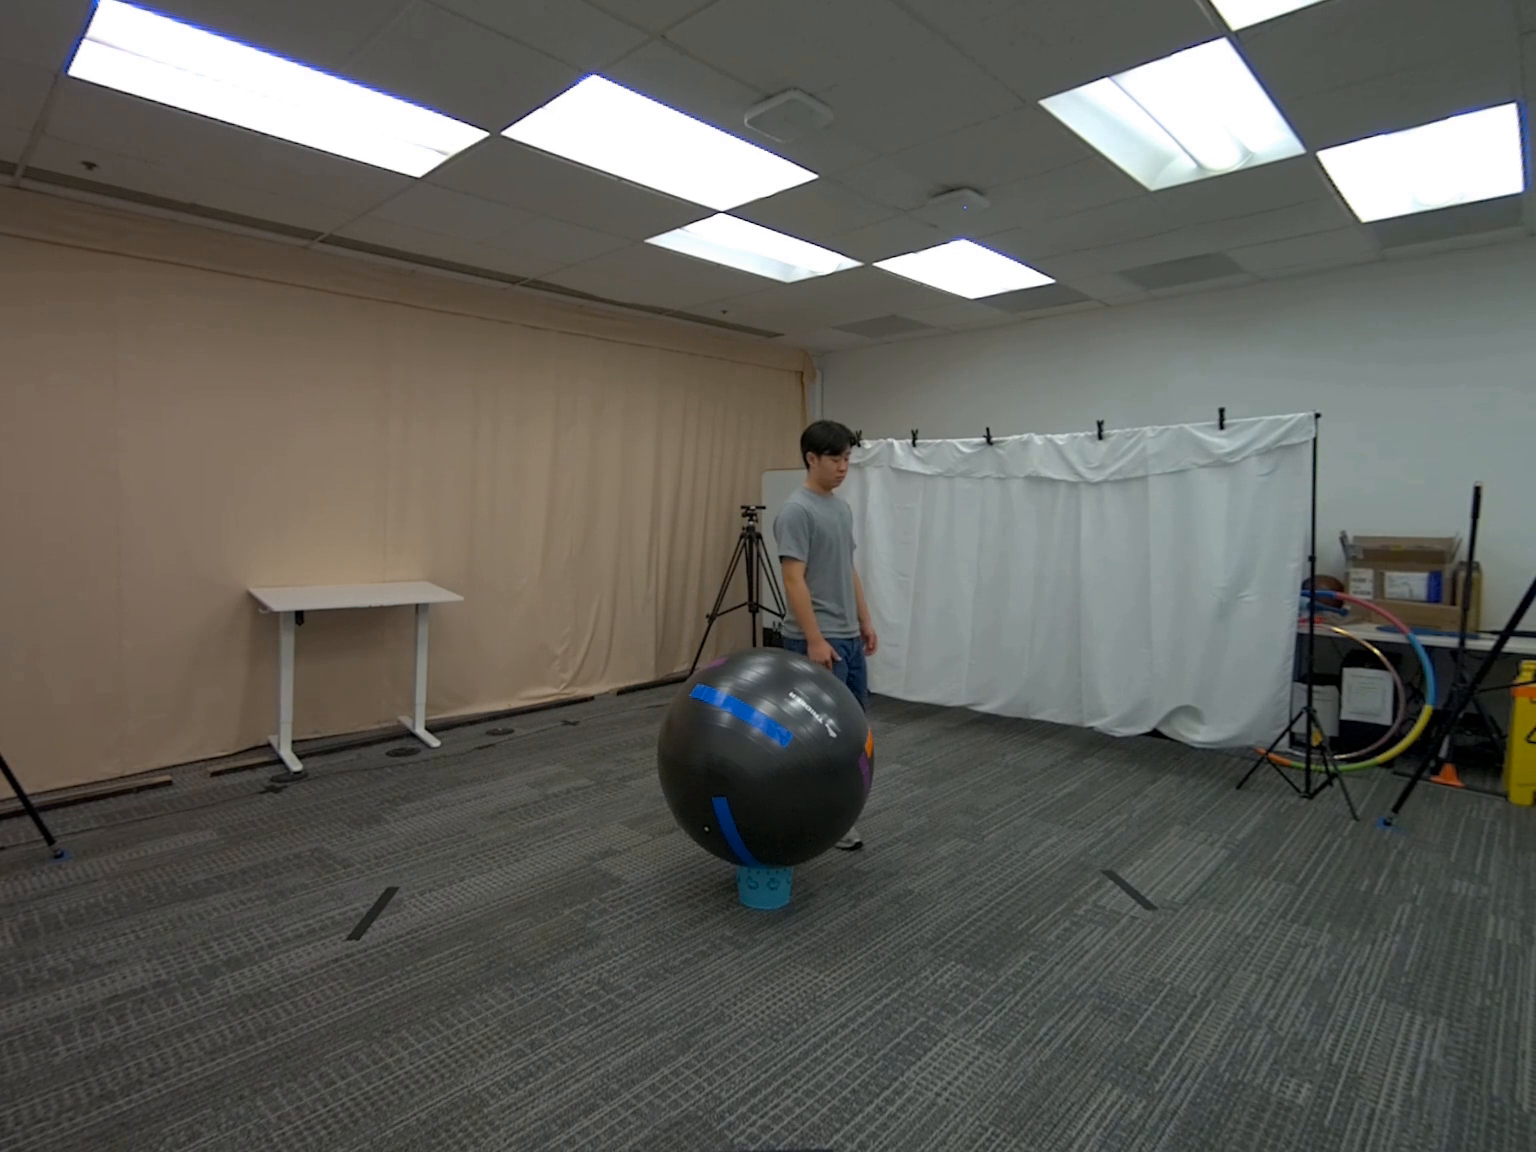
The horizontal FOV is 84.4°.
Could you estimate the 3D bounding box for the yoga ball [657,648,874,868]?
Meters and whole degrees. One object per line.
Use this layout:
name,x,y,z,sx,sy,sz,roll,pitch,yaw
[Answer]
yoga ball,-0.014,0.632,2.971,0.757,0.756,0.760,0,4,-2
